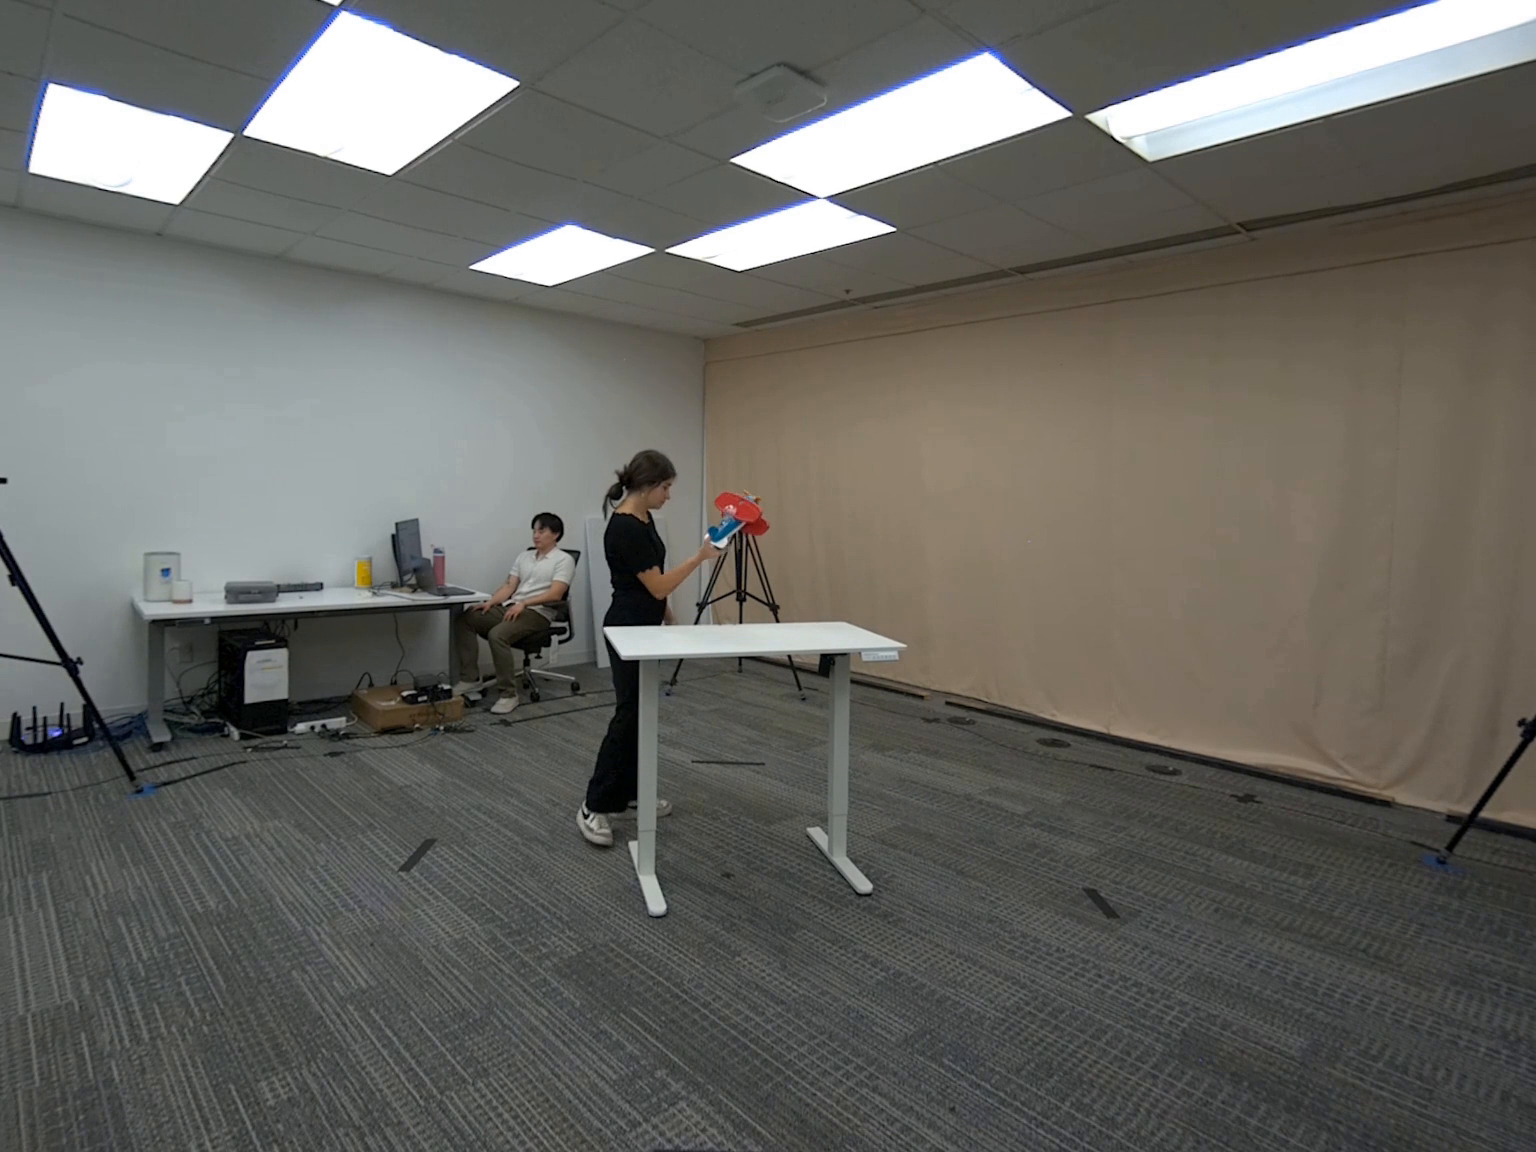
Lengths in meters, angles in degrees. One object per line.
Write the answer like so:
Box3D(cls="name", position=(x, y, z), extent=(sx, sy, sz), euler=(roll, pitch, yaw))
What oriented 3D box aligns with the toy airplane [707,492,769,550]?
Box3D(cls="toy airplane", position=(-0.124, -0.211, 3.337), extent=(0.256, 0.152, 0.261), euler=(4, 39, 23))
